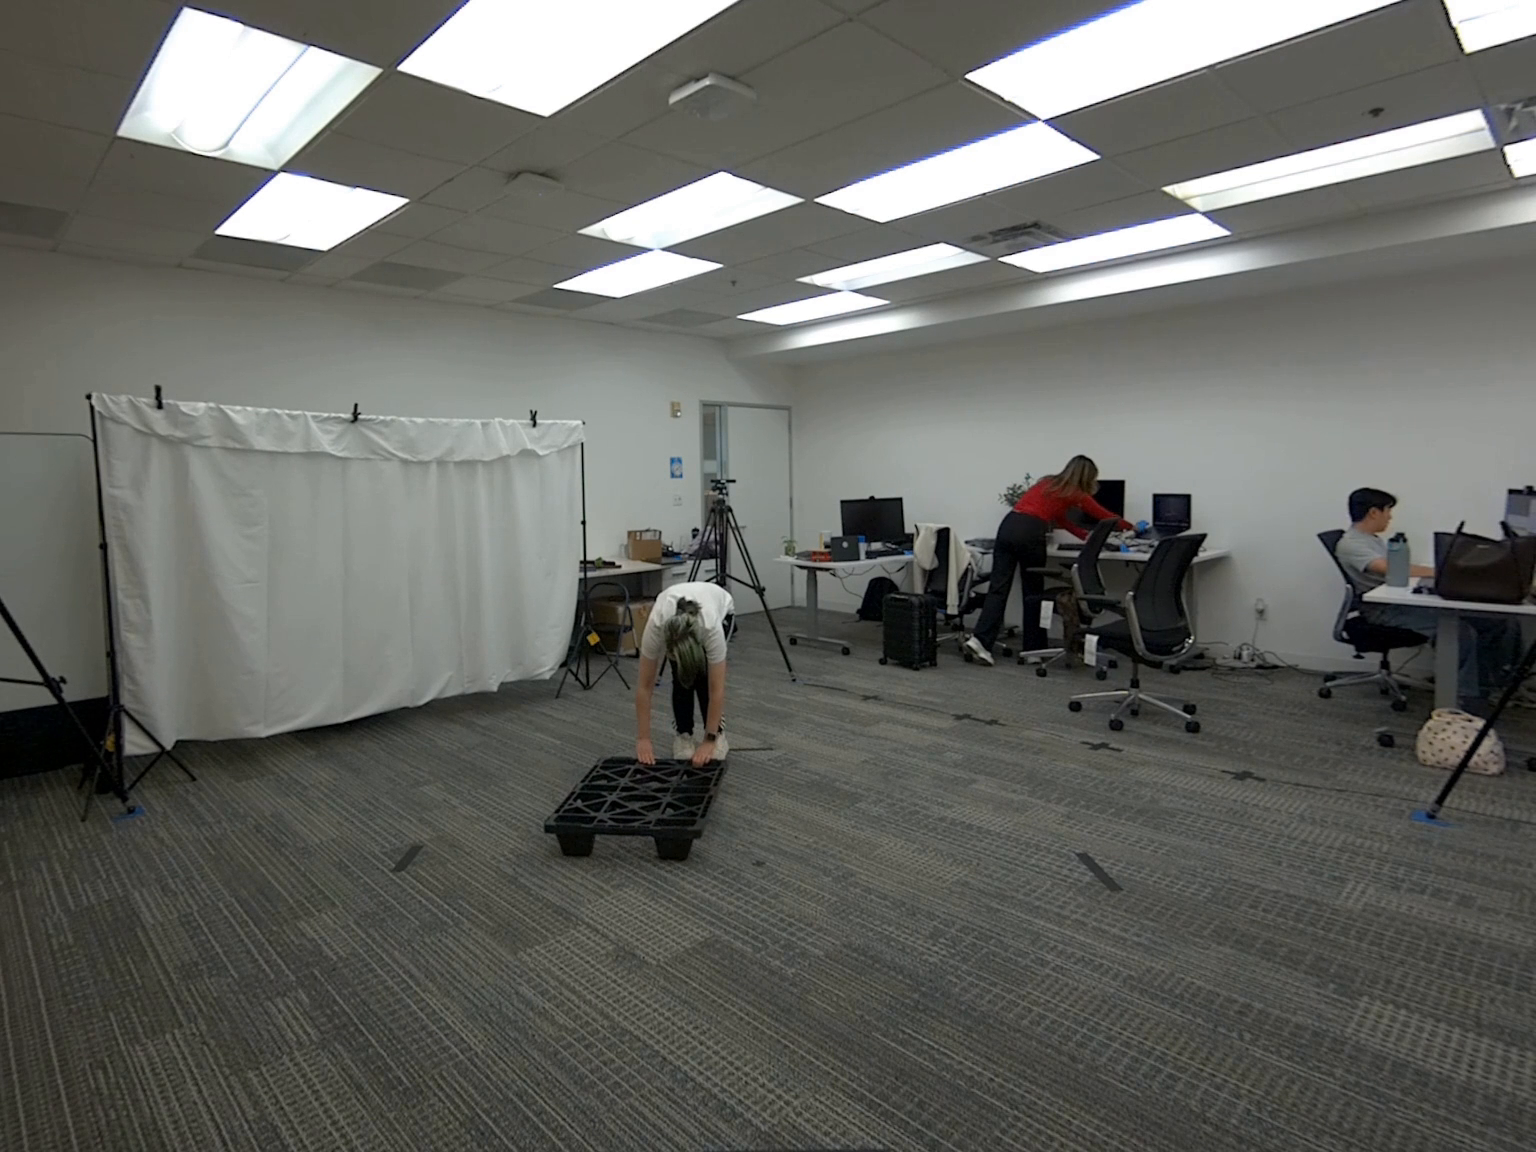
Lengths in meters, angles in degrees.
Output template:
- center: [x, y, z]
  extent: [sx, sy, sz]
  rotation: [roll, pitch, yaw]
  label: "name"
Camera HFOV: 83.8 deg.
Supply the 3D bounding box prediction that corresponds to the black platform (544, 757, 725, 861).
- center: [-0.511, 0.943, 3.530]
  extent: [0.609, 0.143, 0.803]
  rotation: [-2, 6, 6]
  label: "black platform"
